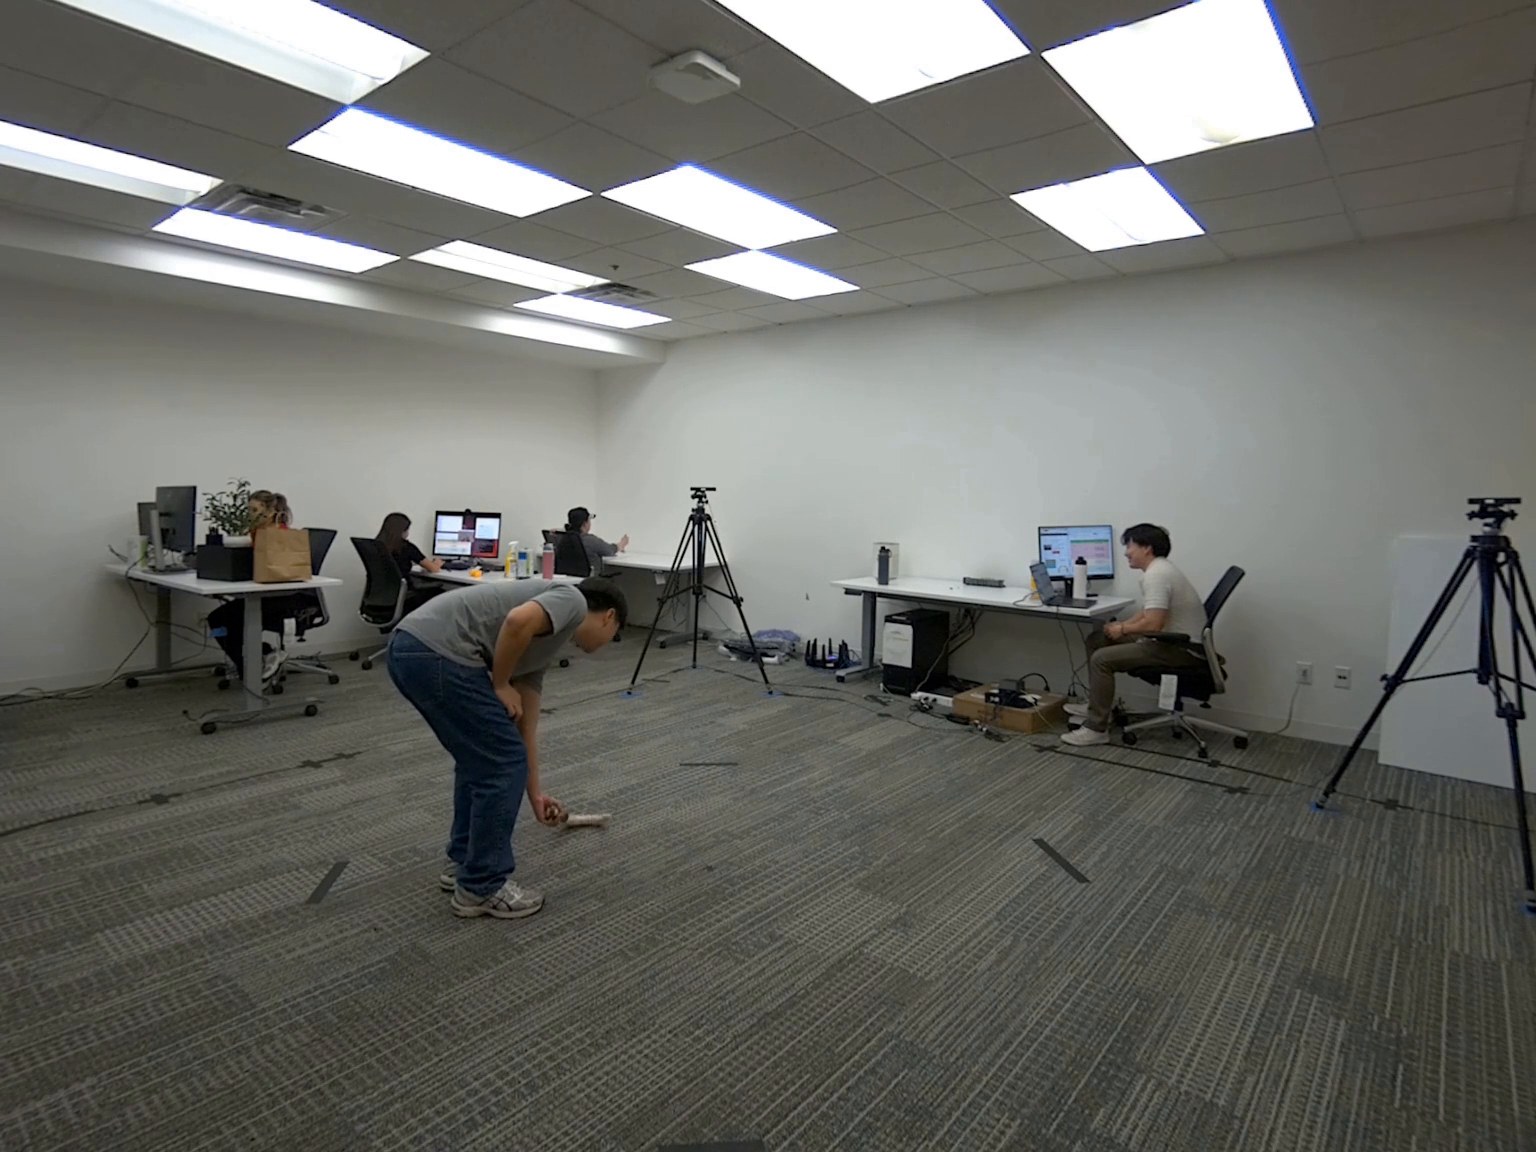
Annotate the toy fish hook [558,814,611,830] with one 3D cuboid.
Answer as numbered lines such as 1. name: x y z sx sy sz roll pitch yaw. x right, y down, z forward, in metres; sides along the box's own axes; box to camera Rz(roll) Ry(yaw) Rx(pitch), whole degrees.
1. toy fish hook: -0.751 0.922 3.286 0.224 0.049 0.497 -6 -18 -1
